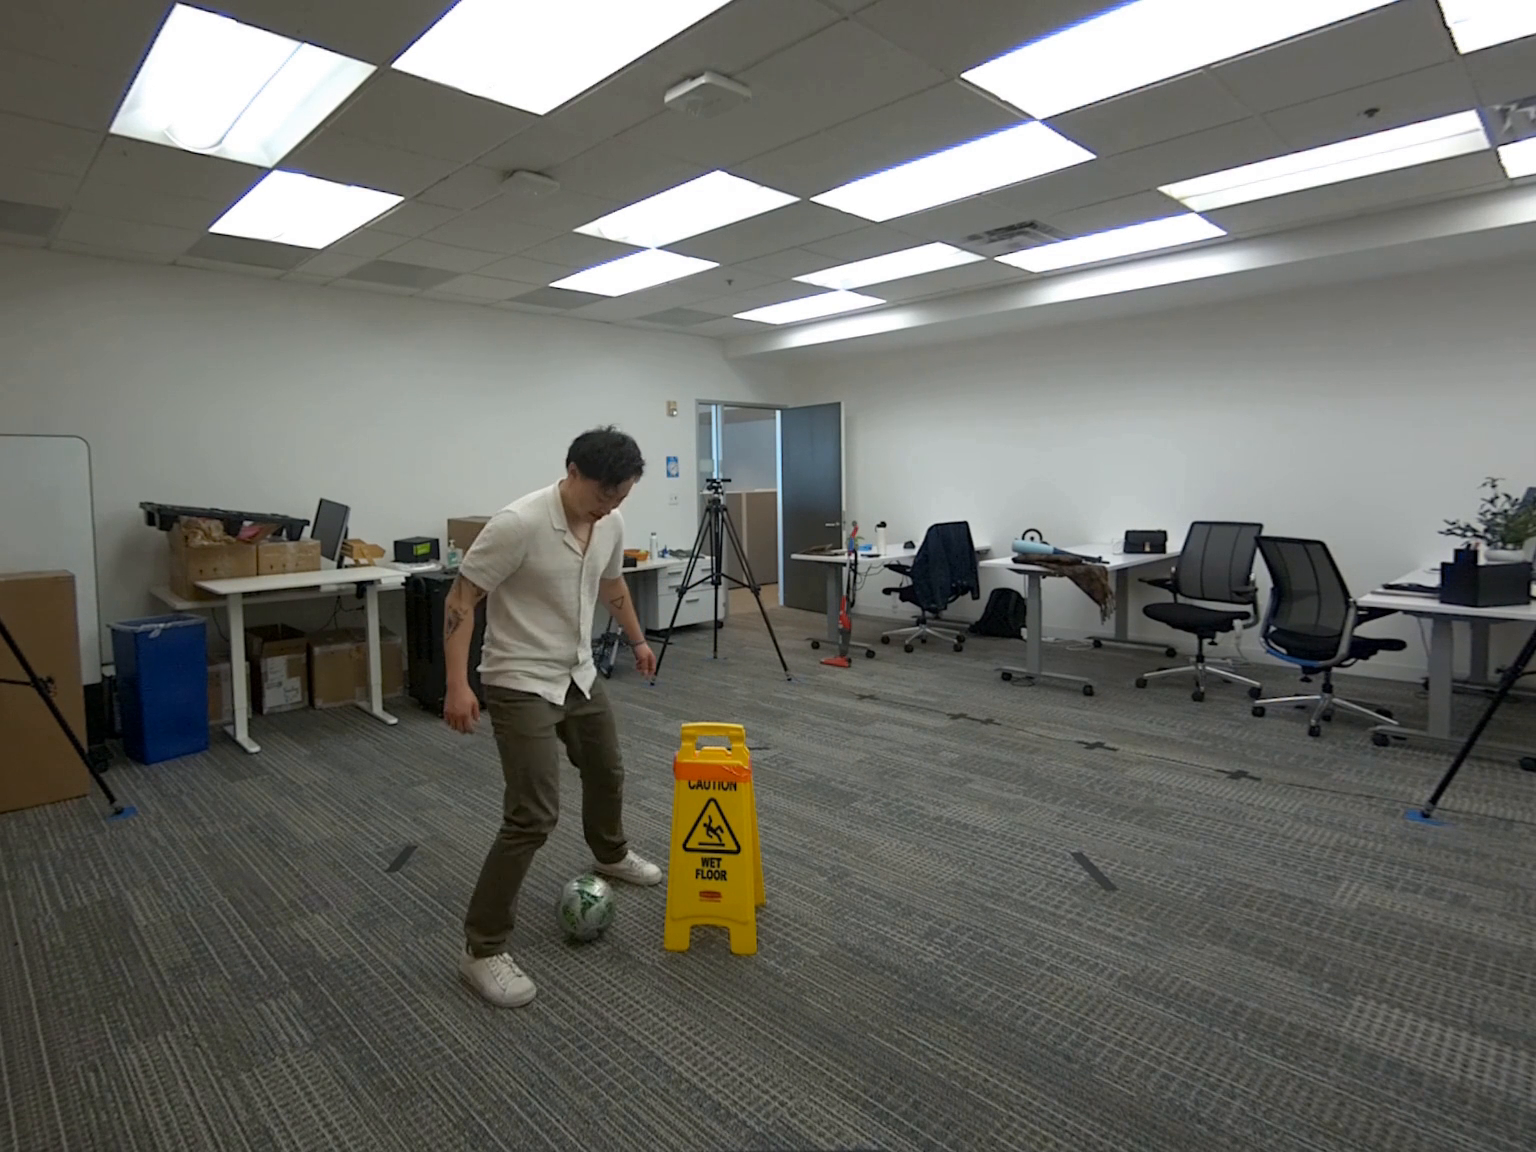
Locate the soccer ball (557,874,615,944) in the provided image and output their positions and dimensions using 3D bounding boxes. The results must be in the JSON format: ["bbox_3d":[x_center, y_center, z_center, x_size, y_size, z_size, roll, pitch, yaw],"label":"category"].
[{"bbox_3d":[-0.561,1.025,2.628,0.187,0.187,0.188,-1,5,-2],"label":"soccer ball"}]
